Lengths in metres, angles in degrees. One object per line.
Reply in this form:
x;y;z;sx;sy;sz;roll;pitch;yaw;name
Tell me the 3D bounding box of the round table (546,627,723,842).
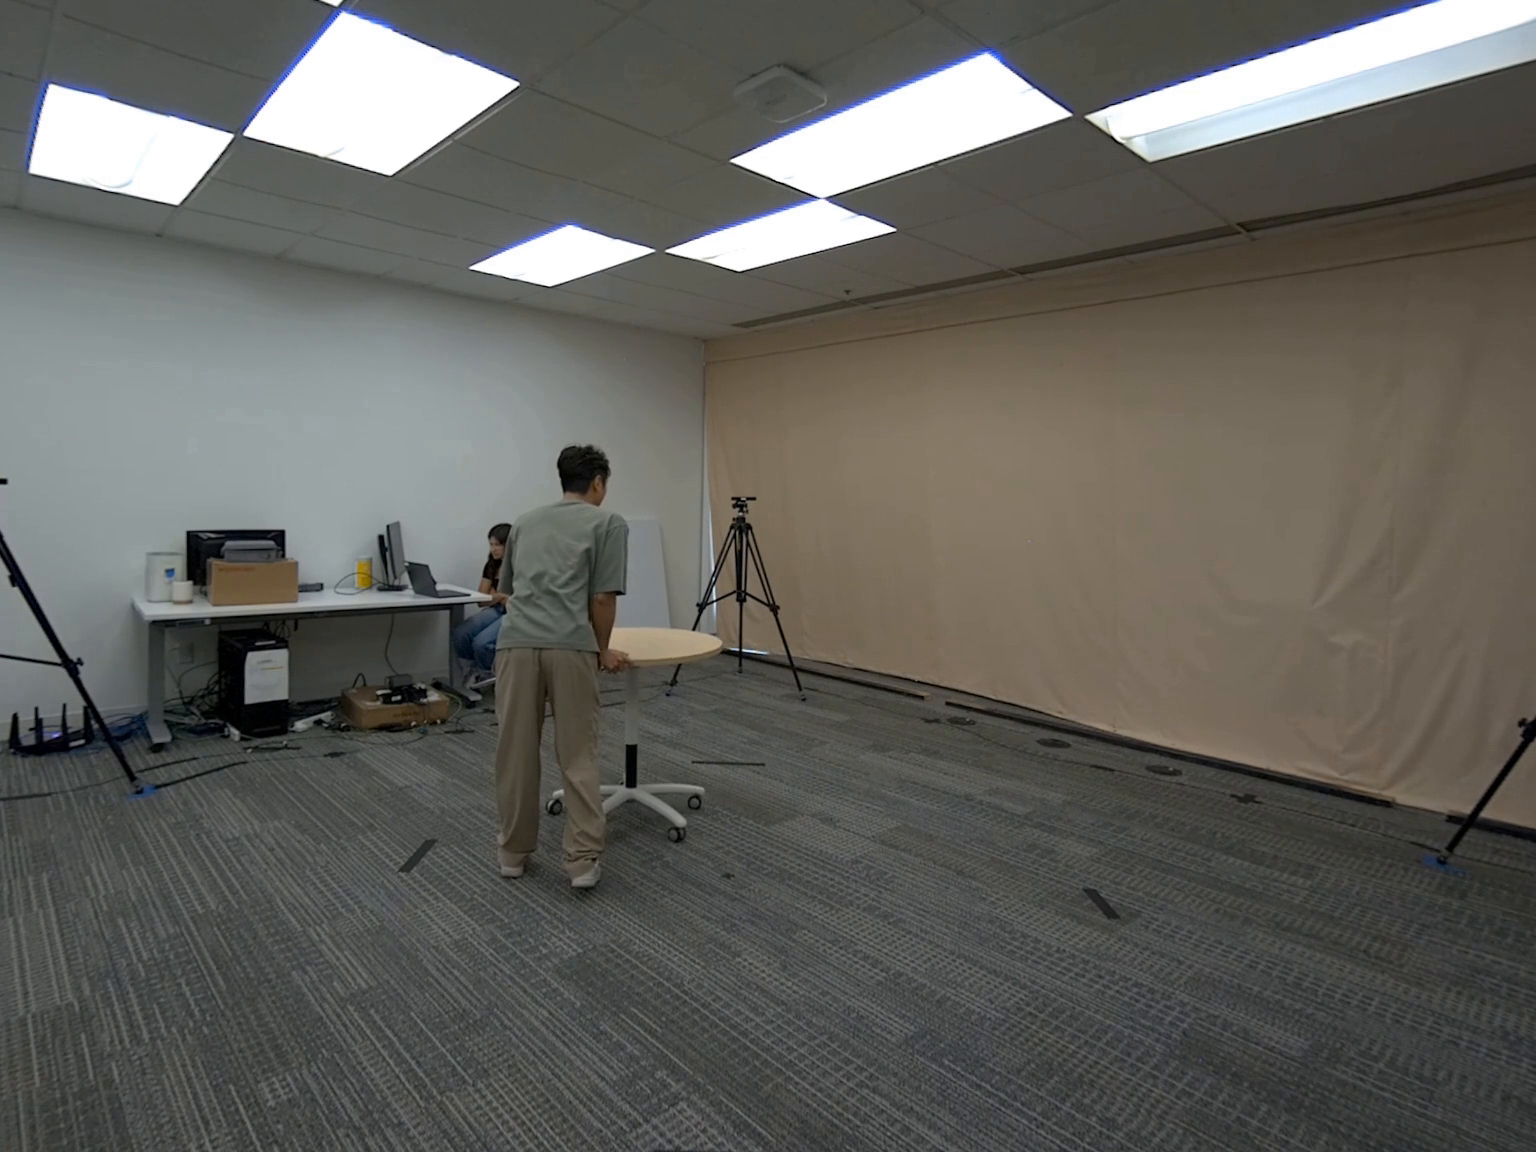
-0.576;0.665;3.618;0.784;0.784;0.788;1;5;-1;round table
